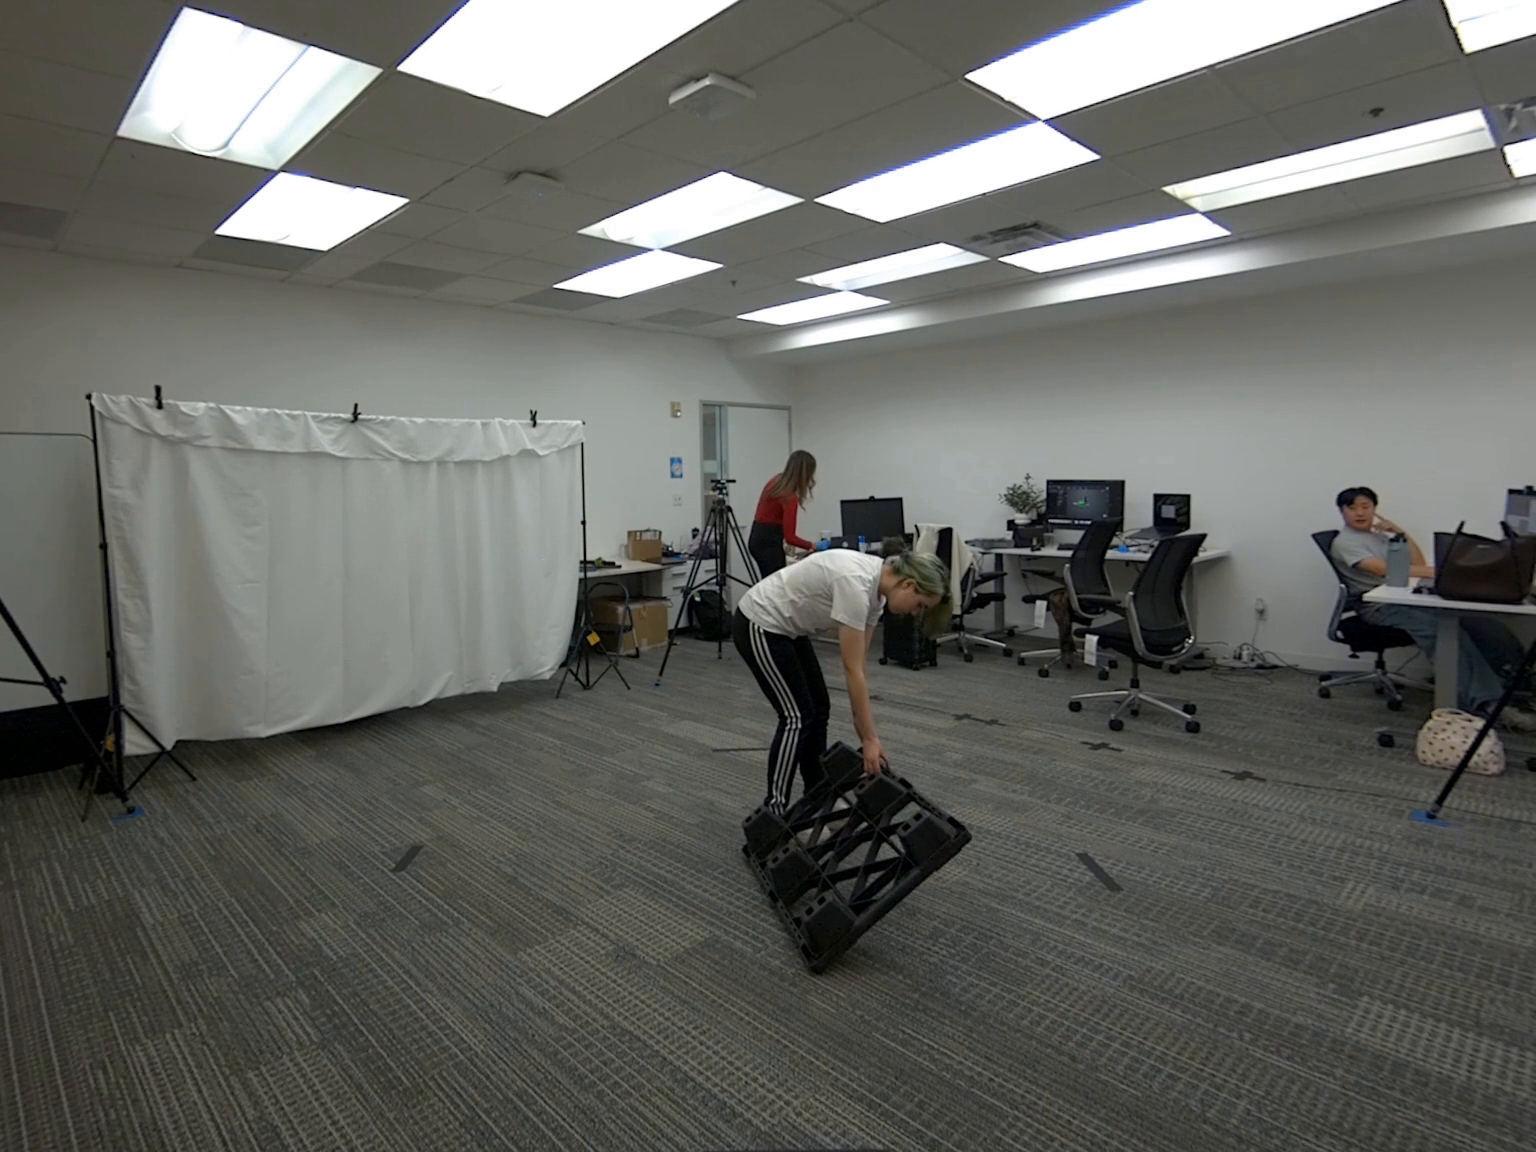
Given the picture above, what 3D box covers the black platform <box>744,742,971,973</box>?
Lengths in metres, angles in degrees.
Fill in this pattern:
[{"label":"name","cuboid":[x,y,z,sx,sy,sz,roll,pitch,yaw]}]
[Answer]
[{"label":"black platform","cuboid":[0.227,0.853,2.813,0.604,0.141,0.820,-38,15,-9]}]
